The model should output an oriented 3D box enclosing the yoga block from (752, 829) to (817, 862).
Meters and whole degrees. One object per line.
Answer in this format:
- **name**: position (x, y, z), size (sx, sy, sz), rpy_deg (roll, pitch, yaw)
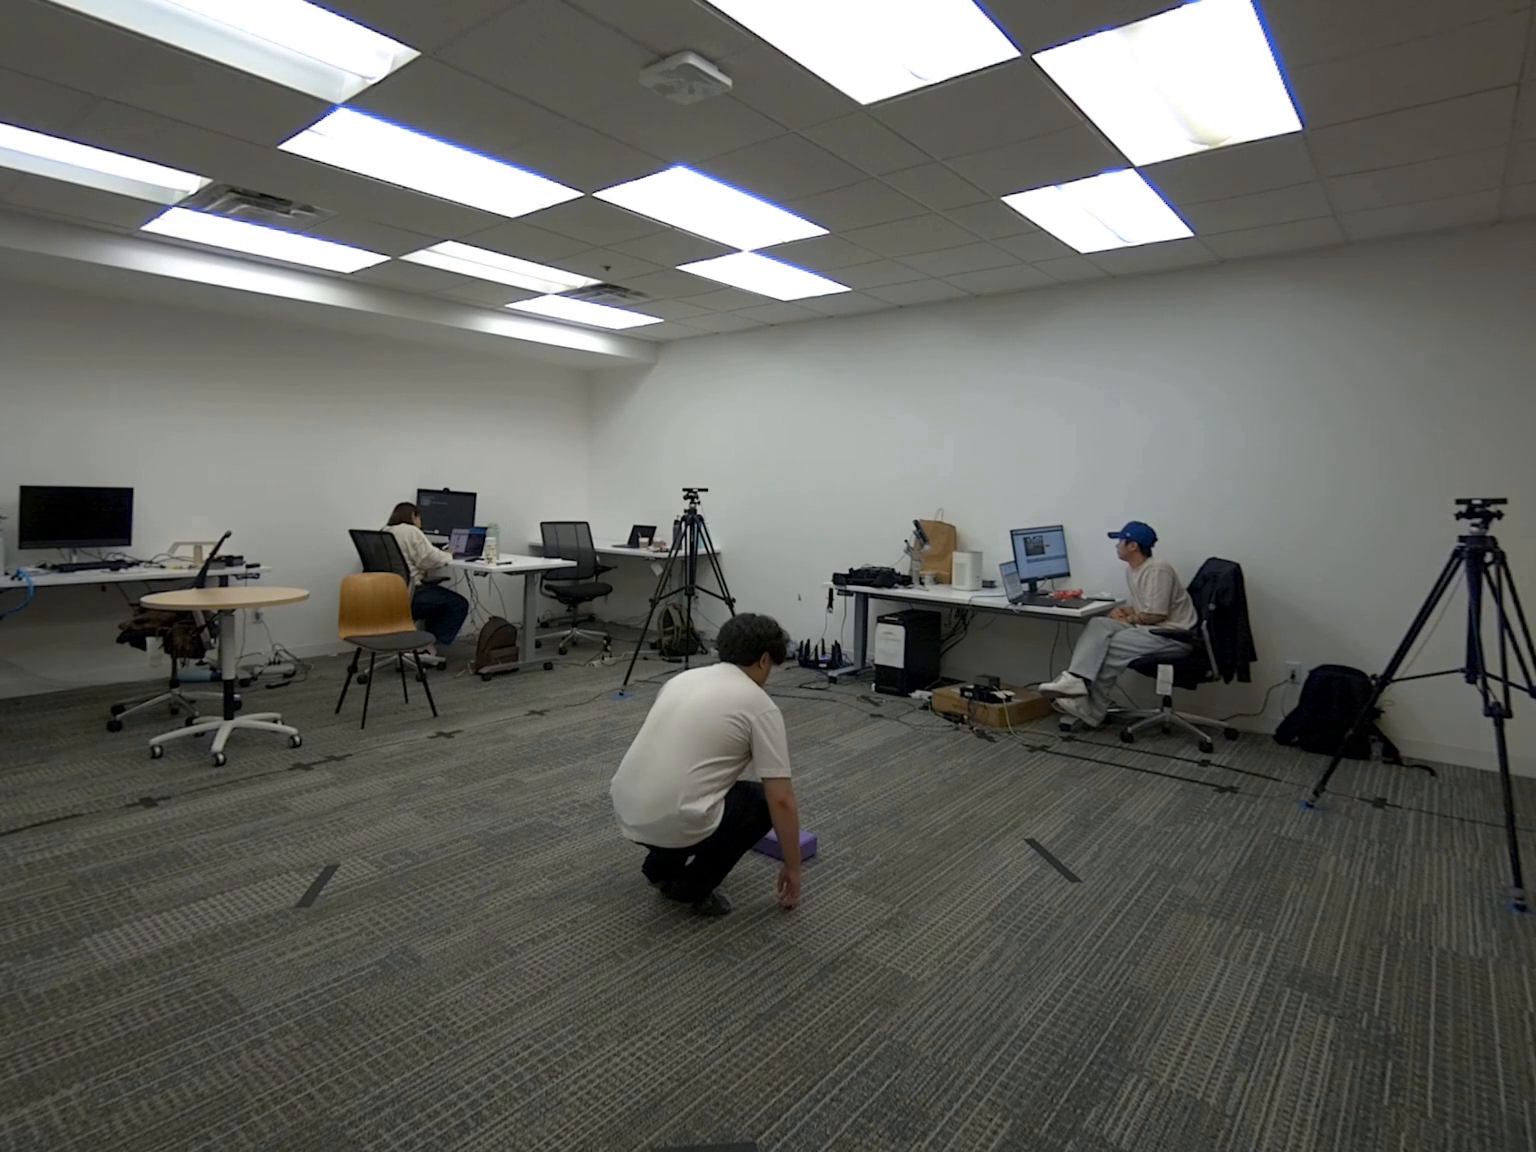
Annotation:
- **yoga block**: position (0.049, 1.018, 3.273), size (0.237, 0.076, 0.144), rpy_deg (5, 5, 38)
